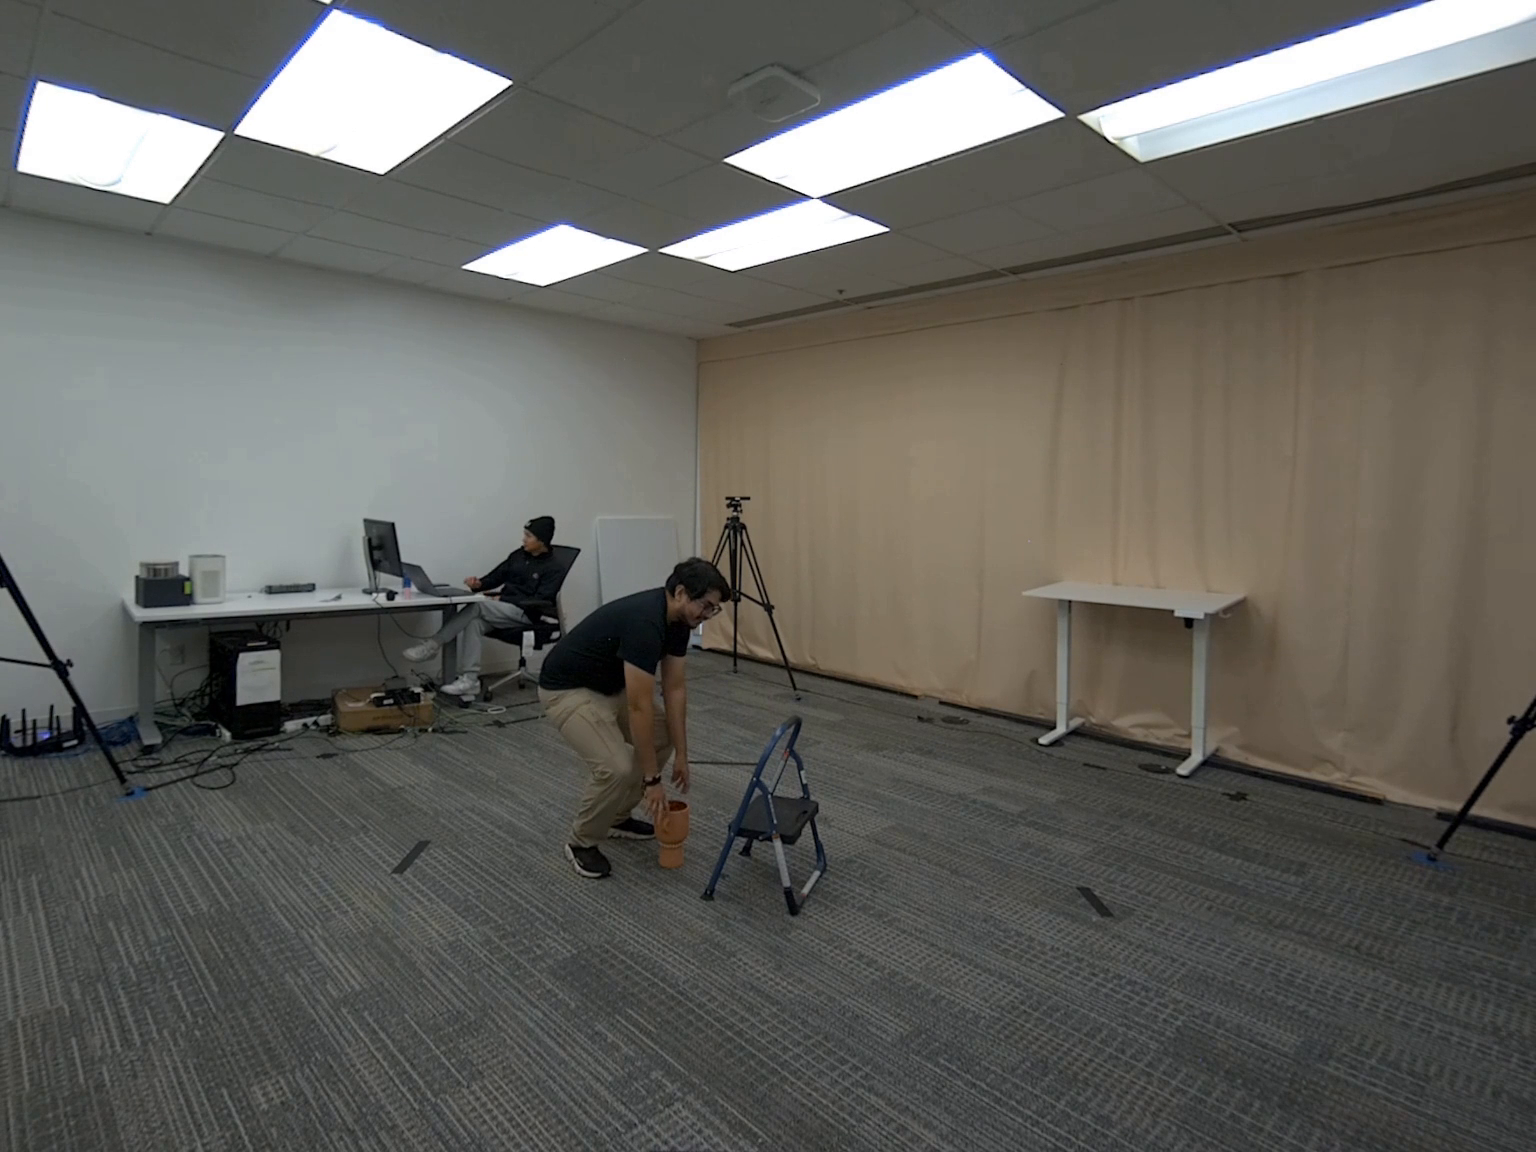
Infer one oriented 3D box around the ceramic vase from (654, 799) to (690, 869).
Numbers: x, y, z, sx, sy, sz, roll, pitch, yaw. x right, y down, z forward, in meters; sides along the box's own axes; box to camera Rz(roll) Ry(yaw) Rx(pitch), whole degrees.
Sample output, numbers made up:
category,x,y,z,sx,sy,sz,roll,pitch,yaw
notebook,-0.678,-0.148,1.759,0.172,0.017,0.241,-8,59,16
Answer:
category,x,y,z,sx,sy,sz,roll,pitch,yaw
ceramic vase,-0.376,0.975,3.202,0.155,0.219,0.138,-2,5,-40
